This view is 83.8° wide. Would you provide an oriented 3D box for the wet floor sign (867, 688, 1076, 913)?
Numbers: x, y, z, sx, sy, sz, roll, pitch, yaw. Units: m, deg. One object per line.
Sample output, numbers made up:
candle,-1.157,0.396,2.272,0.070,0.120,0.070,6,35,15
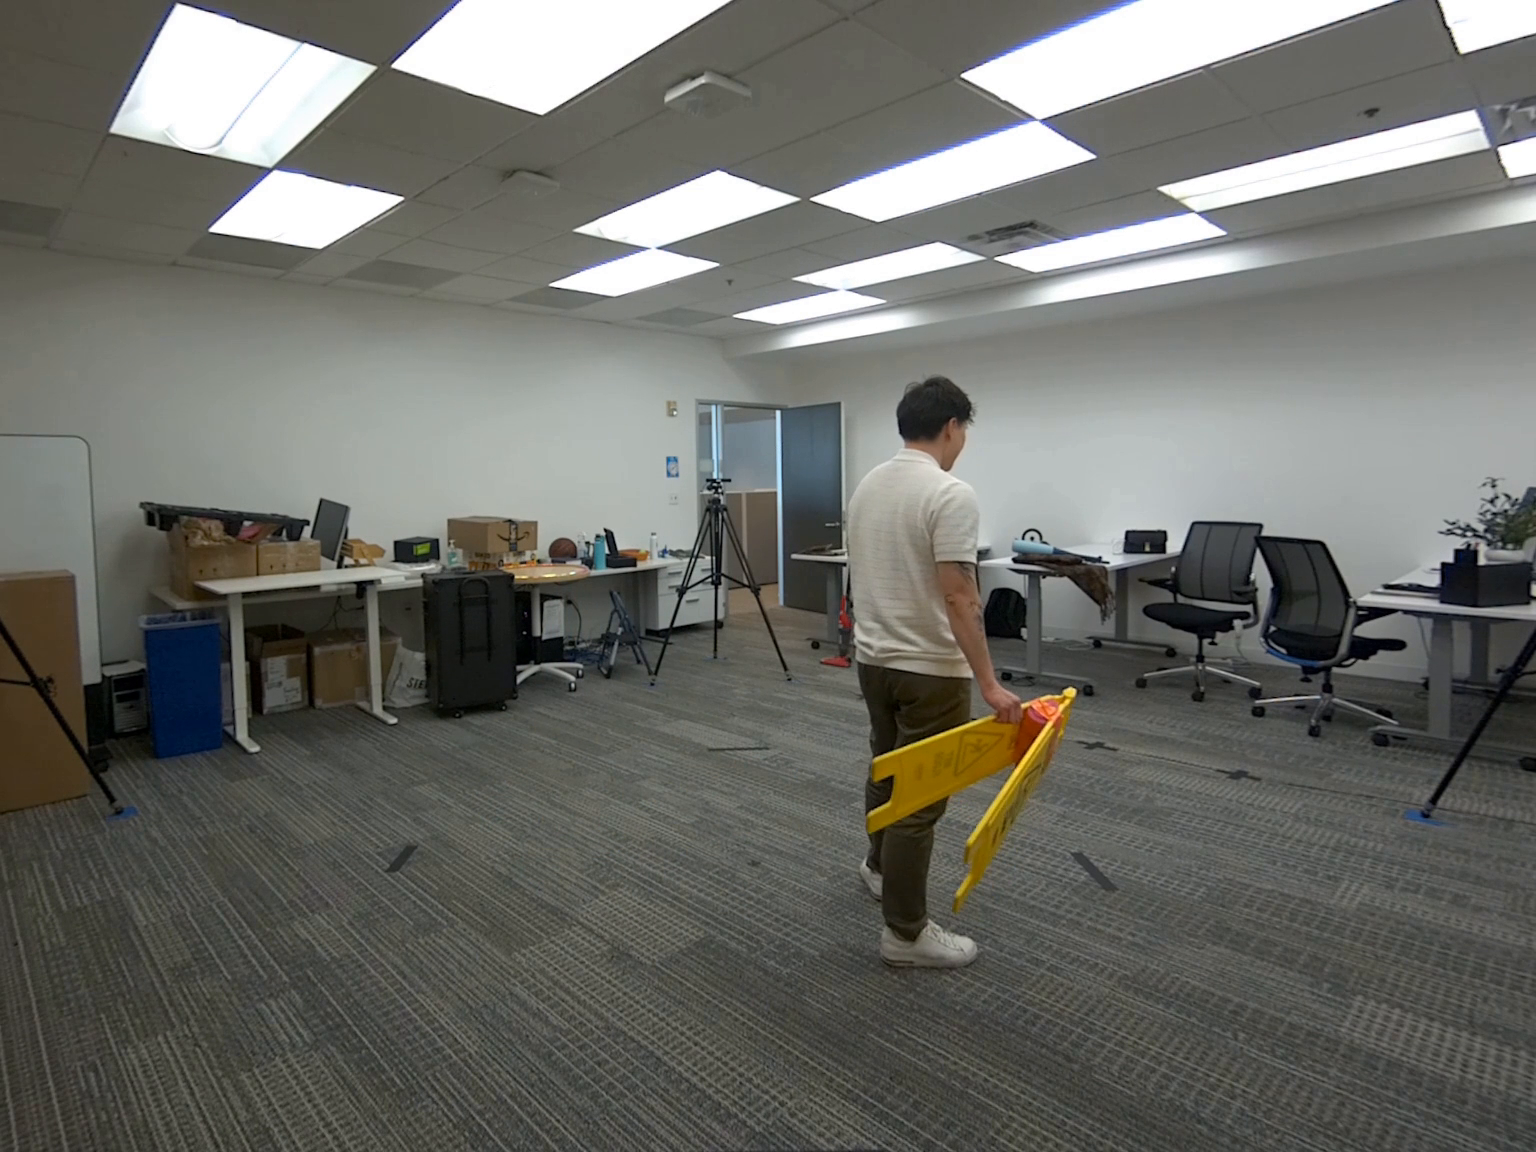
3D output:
wet floor sign,0.599,0.505,2.240,0.638,0.275,0.301,-27,43,-30
